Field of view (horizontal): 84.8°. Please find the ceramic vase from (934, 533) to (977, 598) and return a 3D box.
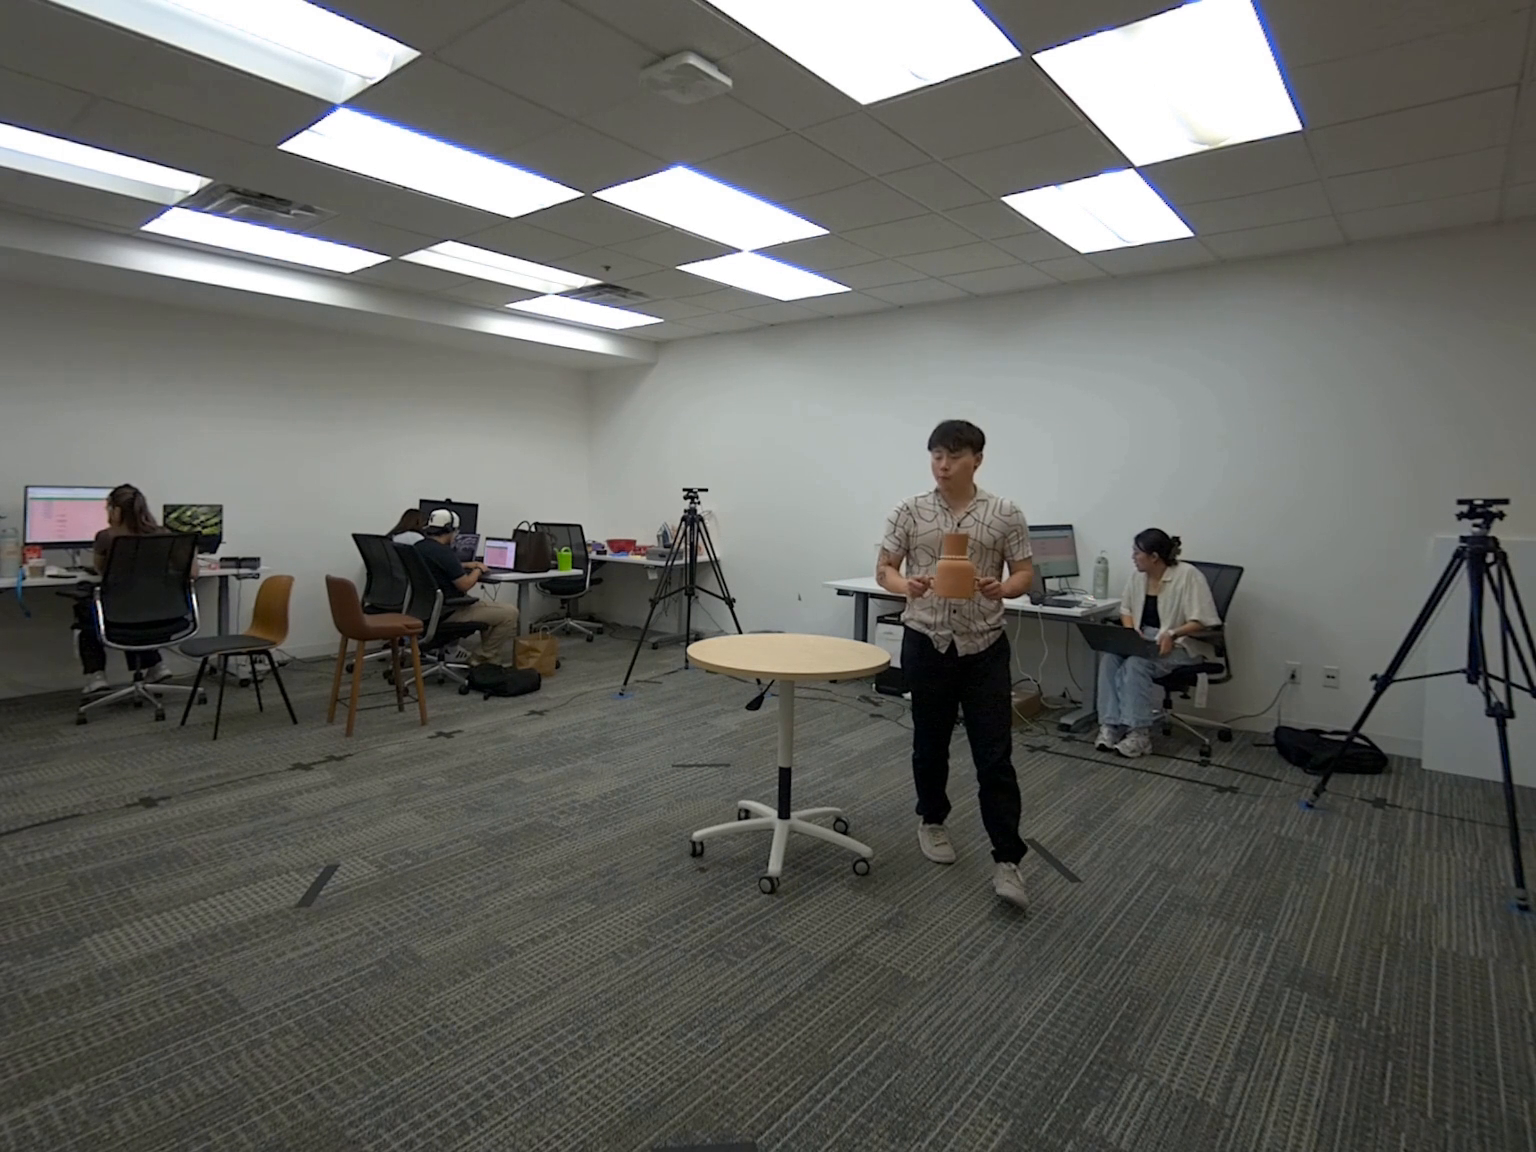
[{"bbox_3d":[0.639,-0.041,2.924,0.155,0.220,0.137,-1,-2,-22],"label":"ceramic vase"}]
